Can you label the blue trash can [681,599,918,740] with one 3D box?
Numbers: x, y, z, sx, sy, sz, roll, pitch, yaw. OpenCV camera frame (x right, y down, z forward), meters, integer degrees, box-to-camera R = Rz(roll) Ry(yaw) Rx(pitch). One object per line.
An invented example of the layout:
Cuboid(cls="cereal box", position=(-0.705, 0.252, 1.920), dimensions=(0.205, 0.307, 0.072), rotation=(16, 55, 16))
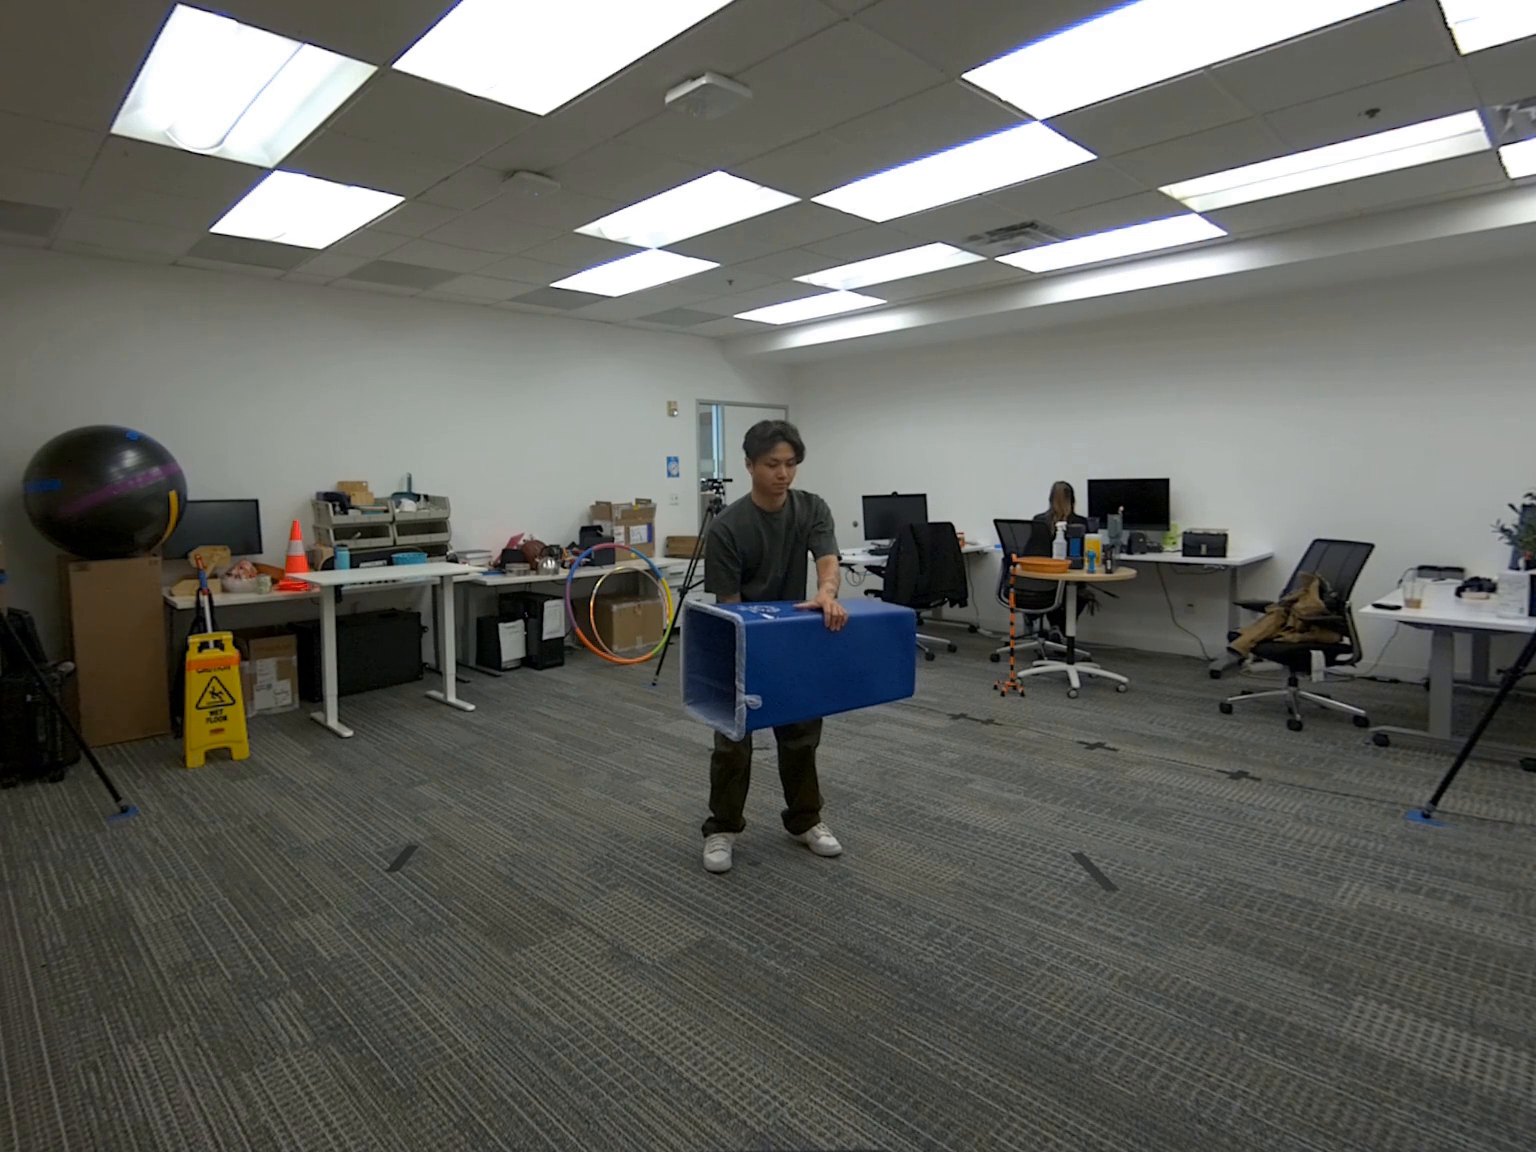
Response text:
Cuboid(cls="blue trash can", position=(0.120, 0.271, 2.816), dimensions=(0.696, 0.373, 0.389), rotation=(-2, 6, -31))
